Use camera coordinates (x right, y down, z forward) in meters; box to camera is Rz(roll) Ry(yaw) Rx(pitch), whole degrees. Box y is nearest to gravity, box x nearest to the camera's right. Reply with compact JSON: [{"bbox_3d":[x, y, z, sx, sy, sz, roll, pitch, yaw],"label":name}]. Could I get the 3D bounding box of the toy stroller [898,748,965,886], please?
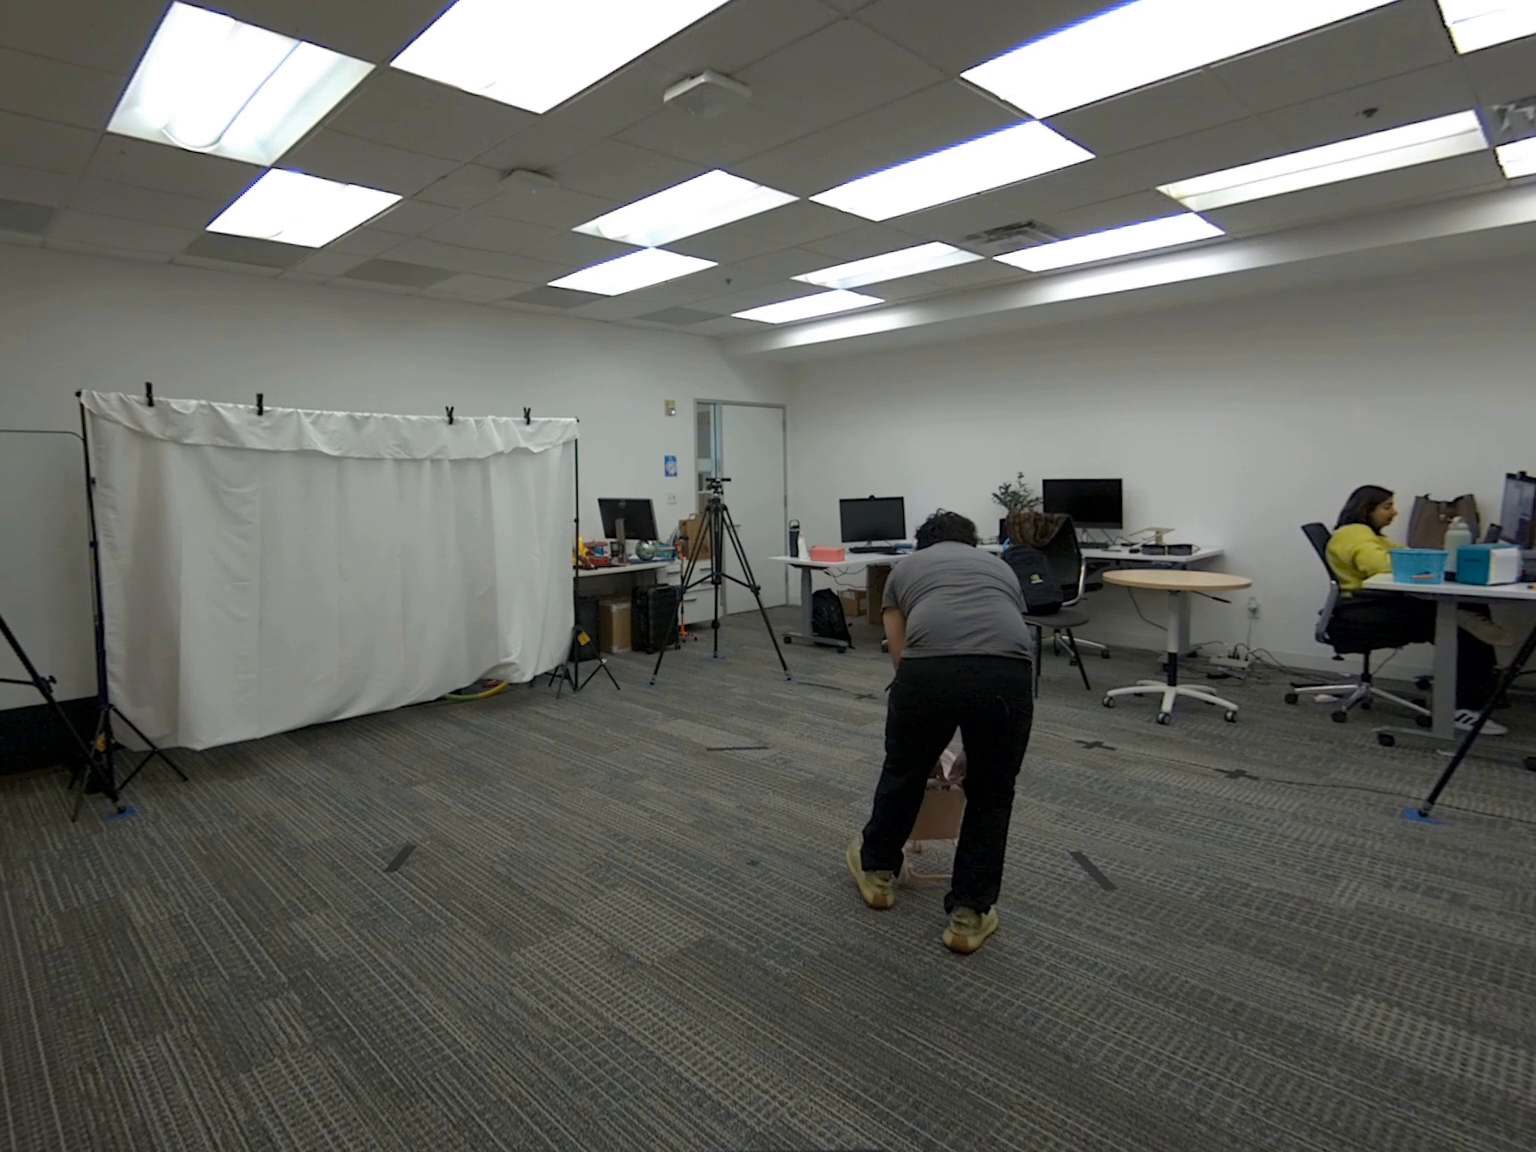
[{"bbox_3d":[0.576,0.827,2.987,0.281,0.526,0.347,0,19,-1],"label":"toy stroller"}]
